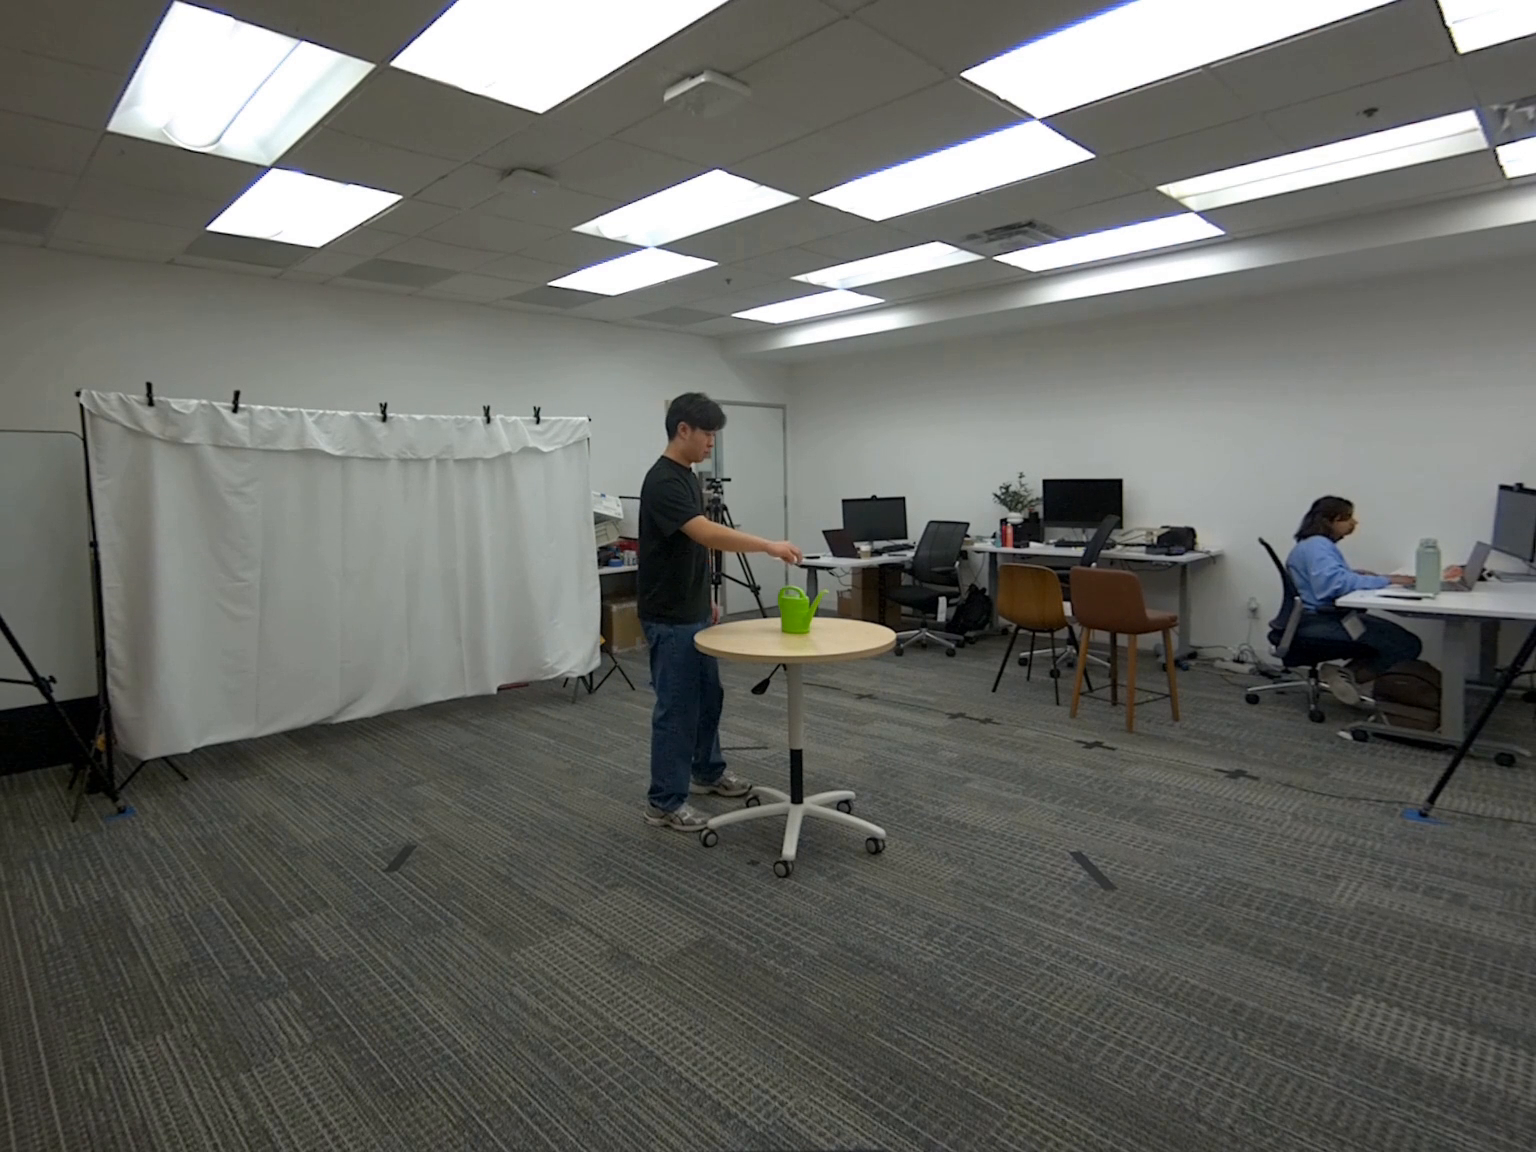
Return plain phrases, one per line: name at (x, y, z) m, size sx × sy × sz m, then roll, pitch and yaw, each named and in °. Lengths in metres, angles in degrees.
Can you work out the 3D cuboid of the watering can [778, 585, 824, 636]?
watering can at (0.130, 0.133, 3.289) m, size 0.096 × 0.176 × 0.285 m, roll -6°, pitch 6°, yaw -25°
